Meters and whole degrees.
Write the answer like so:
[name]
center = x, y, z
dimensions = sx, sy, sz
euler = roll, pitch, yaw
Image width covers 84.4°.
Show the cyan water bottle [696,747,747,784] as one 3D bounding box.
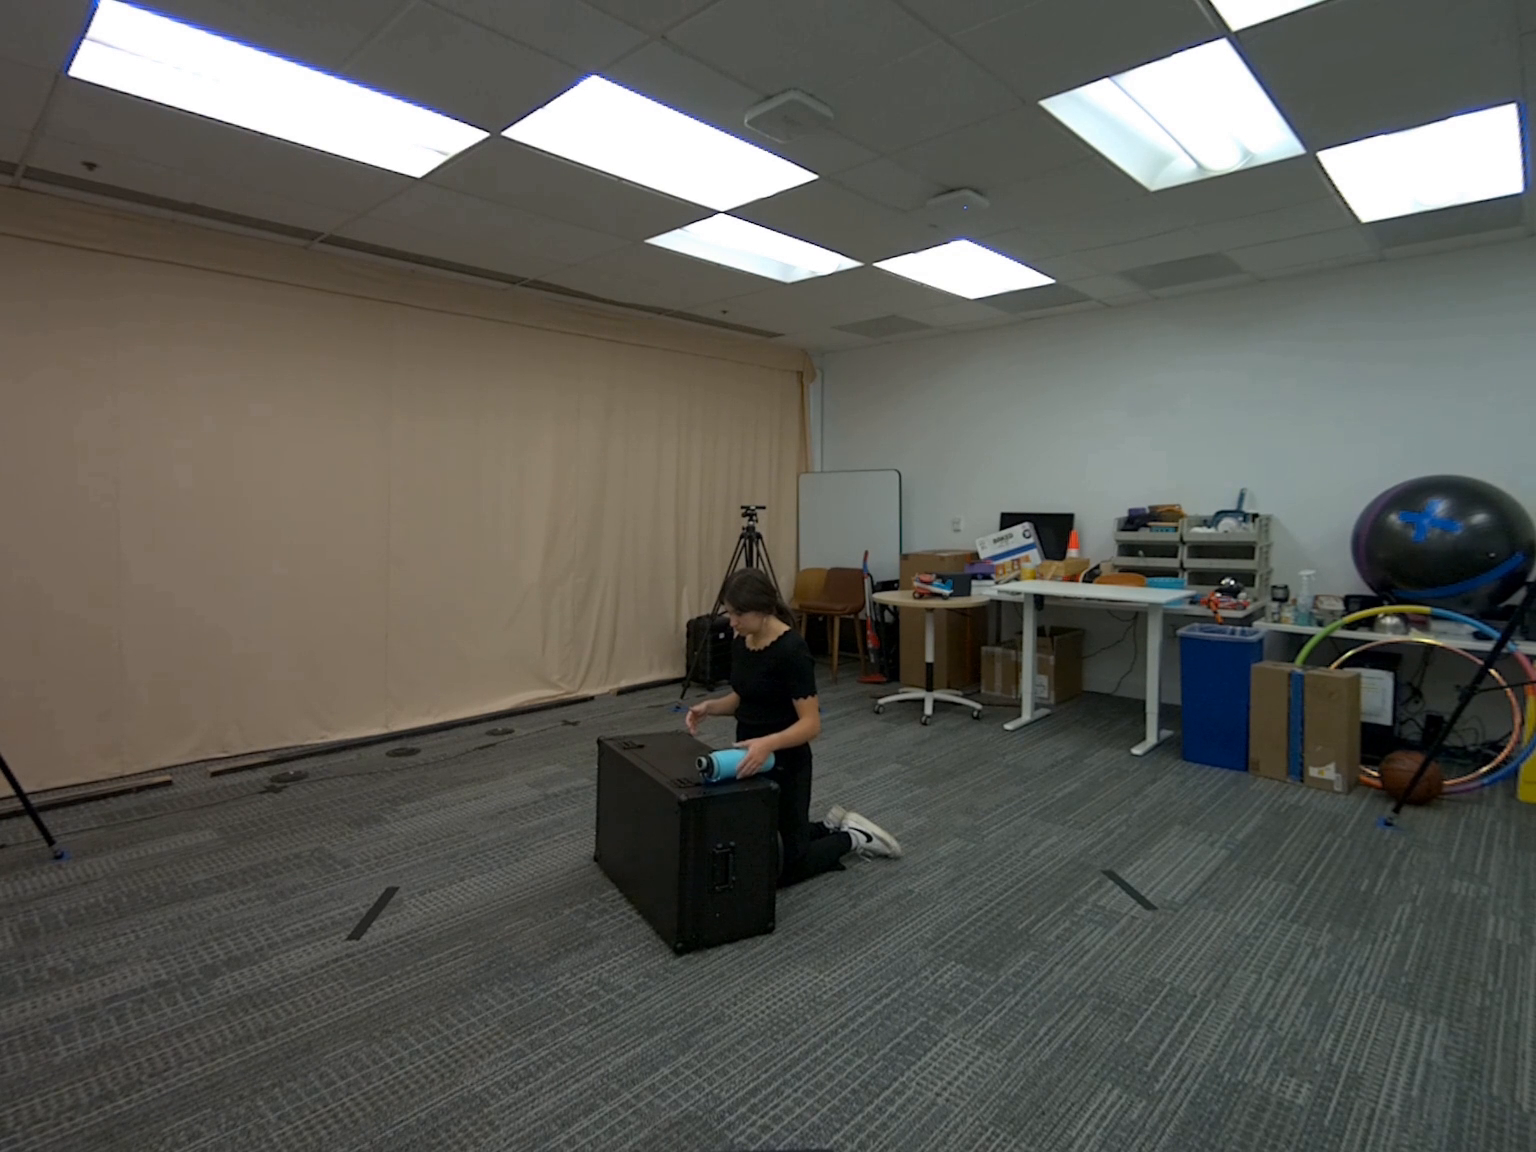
[cyan water bottle]
center = -0.117, 0.624, 2.819
dimensions = 0.275, 0.092, 0.095
euler = 0, 3, -38
